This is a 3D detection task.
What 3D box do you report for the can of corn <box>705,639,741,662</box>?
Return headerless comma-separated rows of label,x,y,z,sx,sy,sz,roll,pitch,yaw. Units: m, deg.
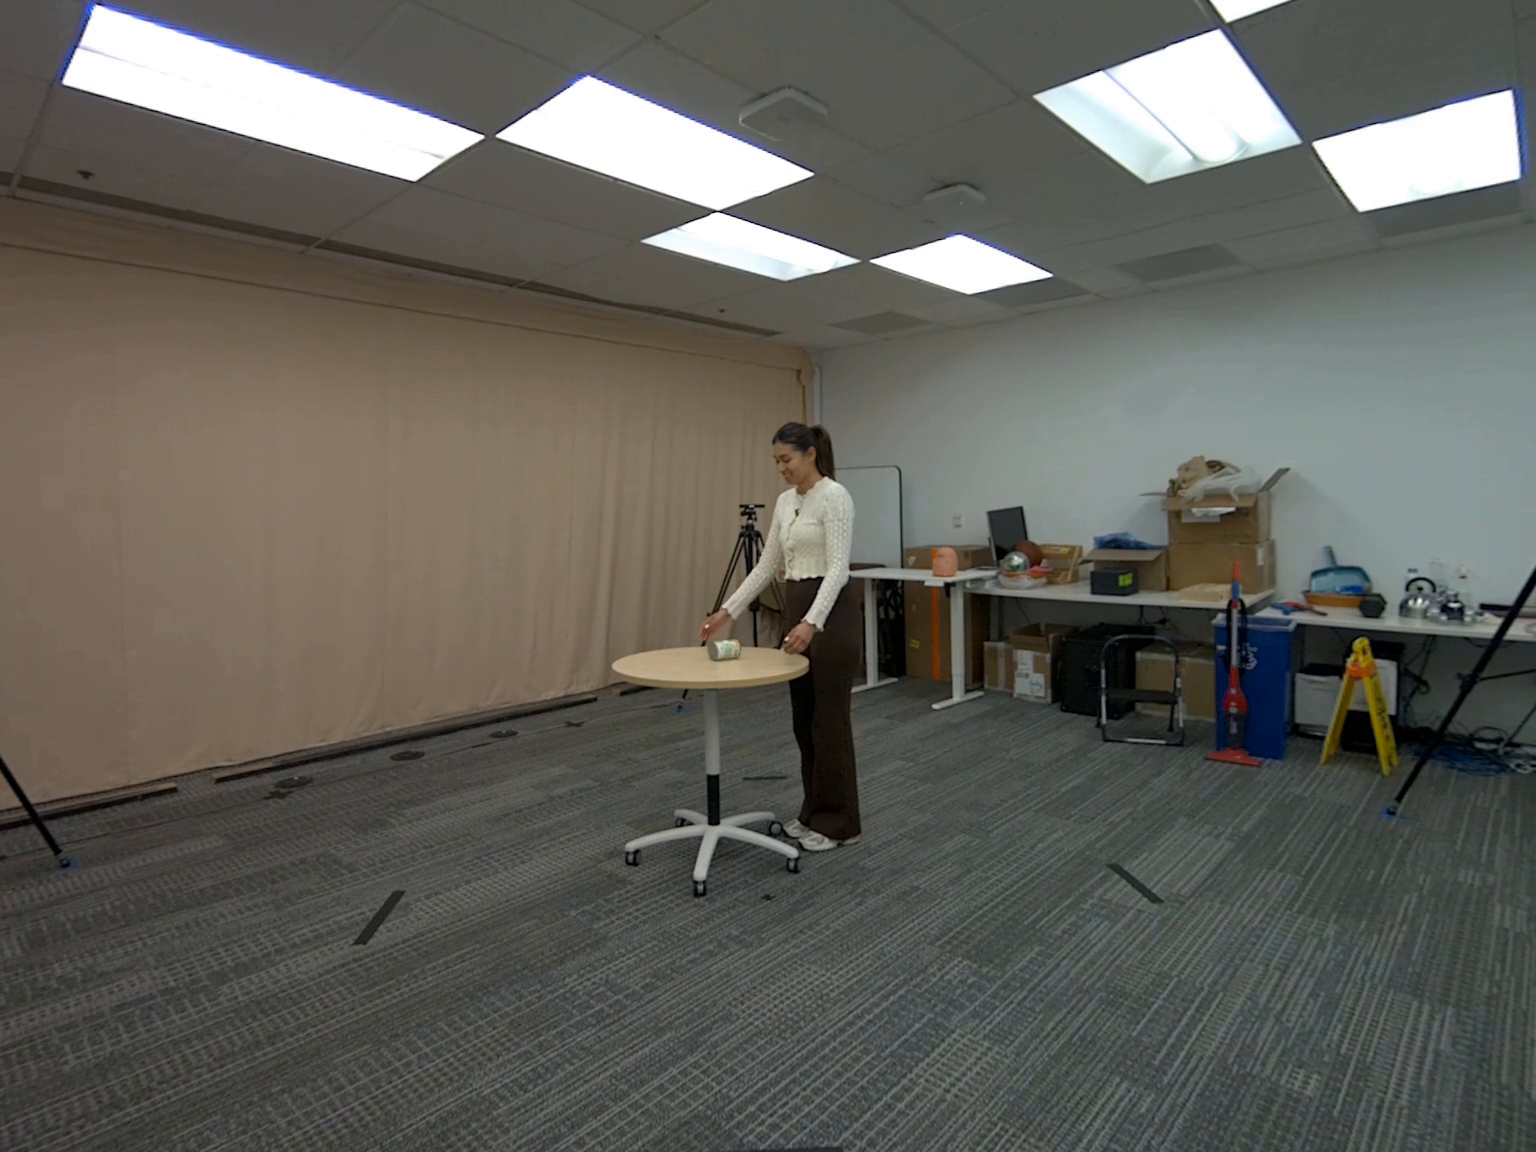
can of corn,-0.175,0.295,3.323,0.110,0.074,0.075,1,4,-7
